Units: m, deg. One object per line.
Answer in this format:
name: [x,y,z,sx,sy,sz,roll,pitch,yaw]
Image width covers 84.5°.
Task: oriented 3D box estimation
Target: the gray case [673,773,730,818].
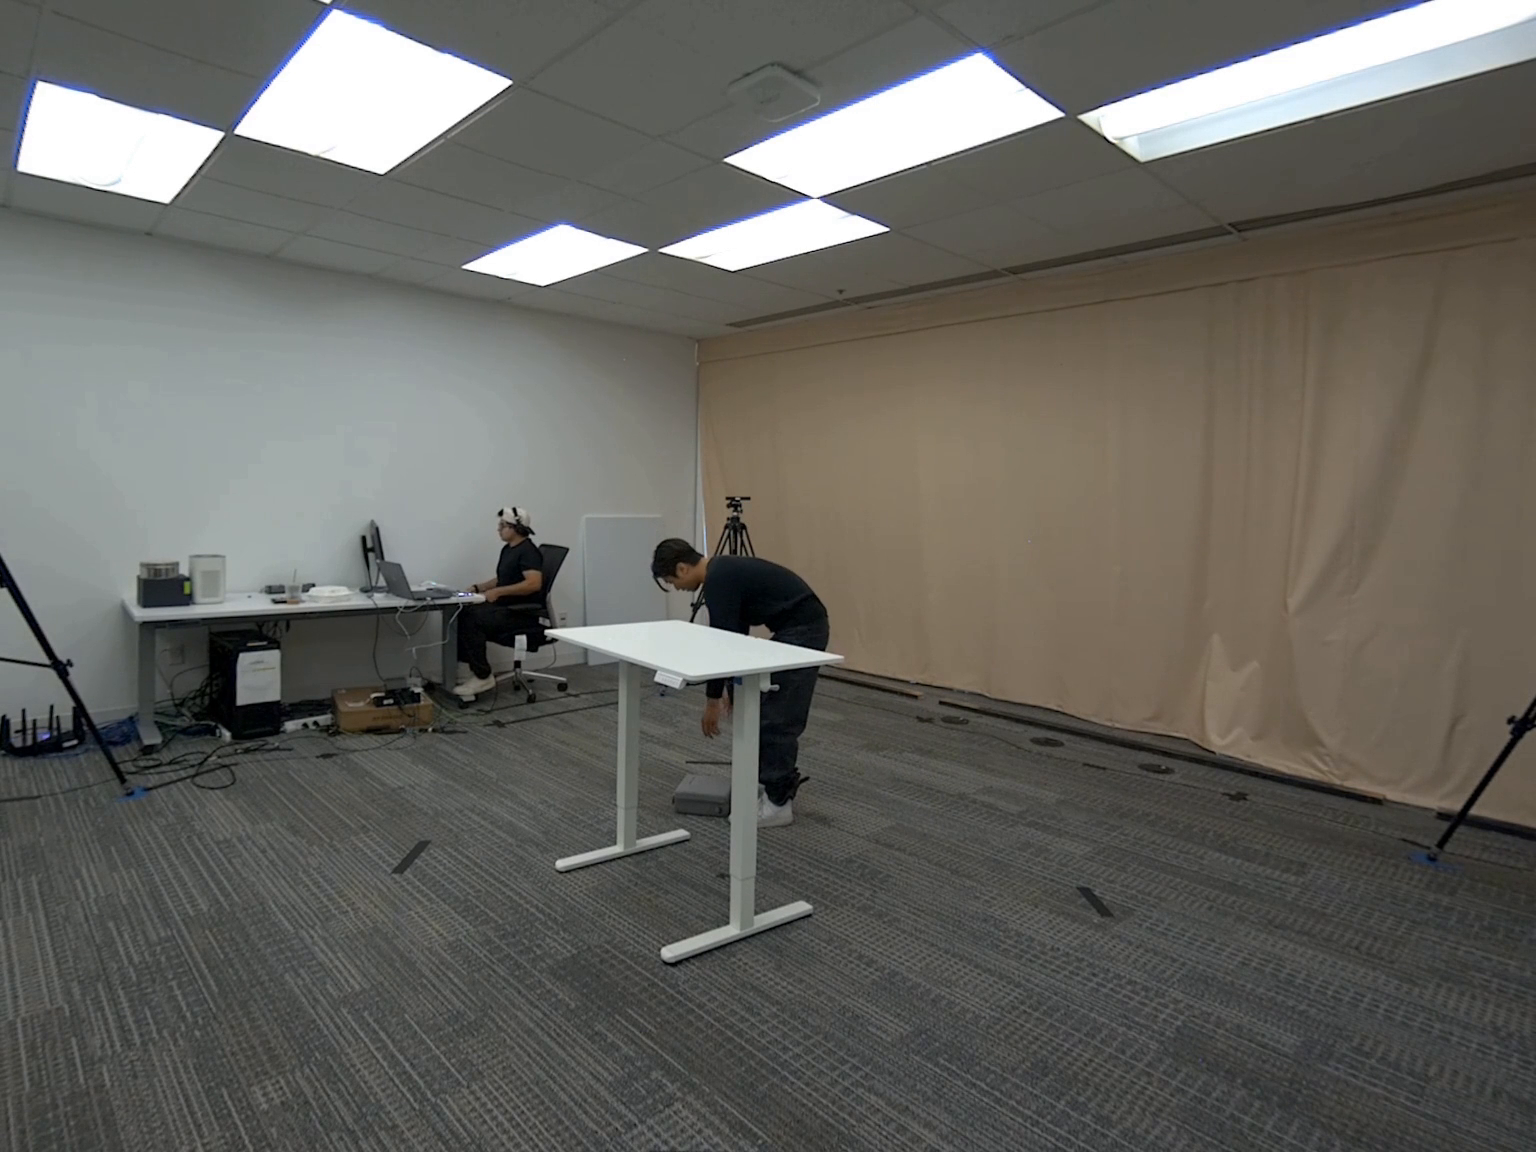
gray case: [-0.283,0.985,3.808,0.263,0.104,0.255,4,5,9]
